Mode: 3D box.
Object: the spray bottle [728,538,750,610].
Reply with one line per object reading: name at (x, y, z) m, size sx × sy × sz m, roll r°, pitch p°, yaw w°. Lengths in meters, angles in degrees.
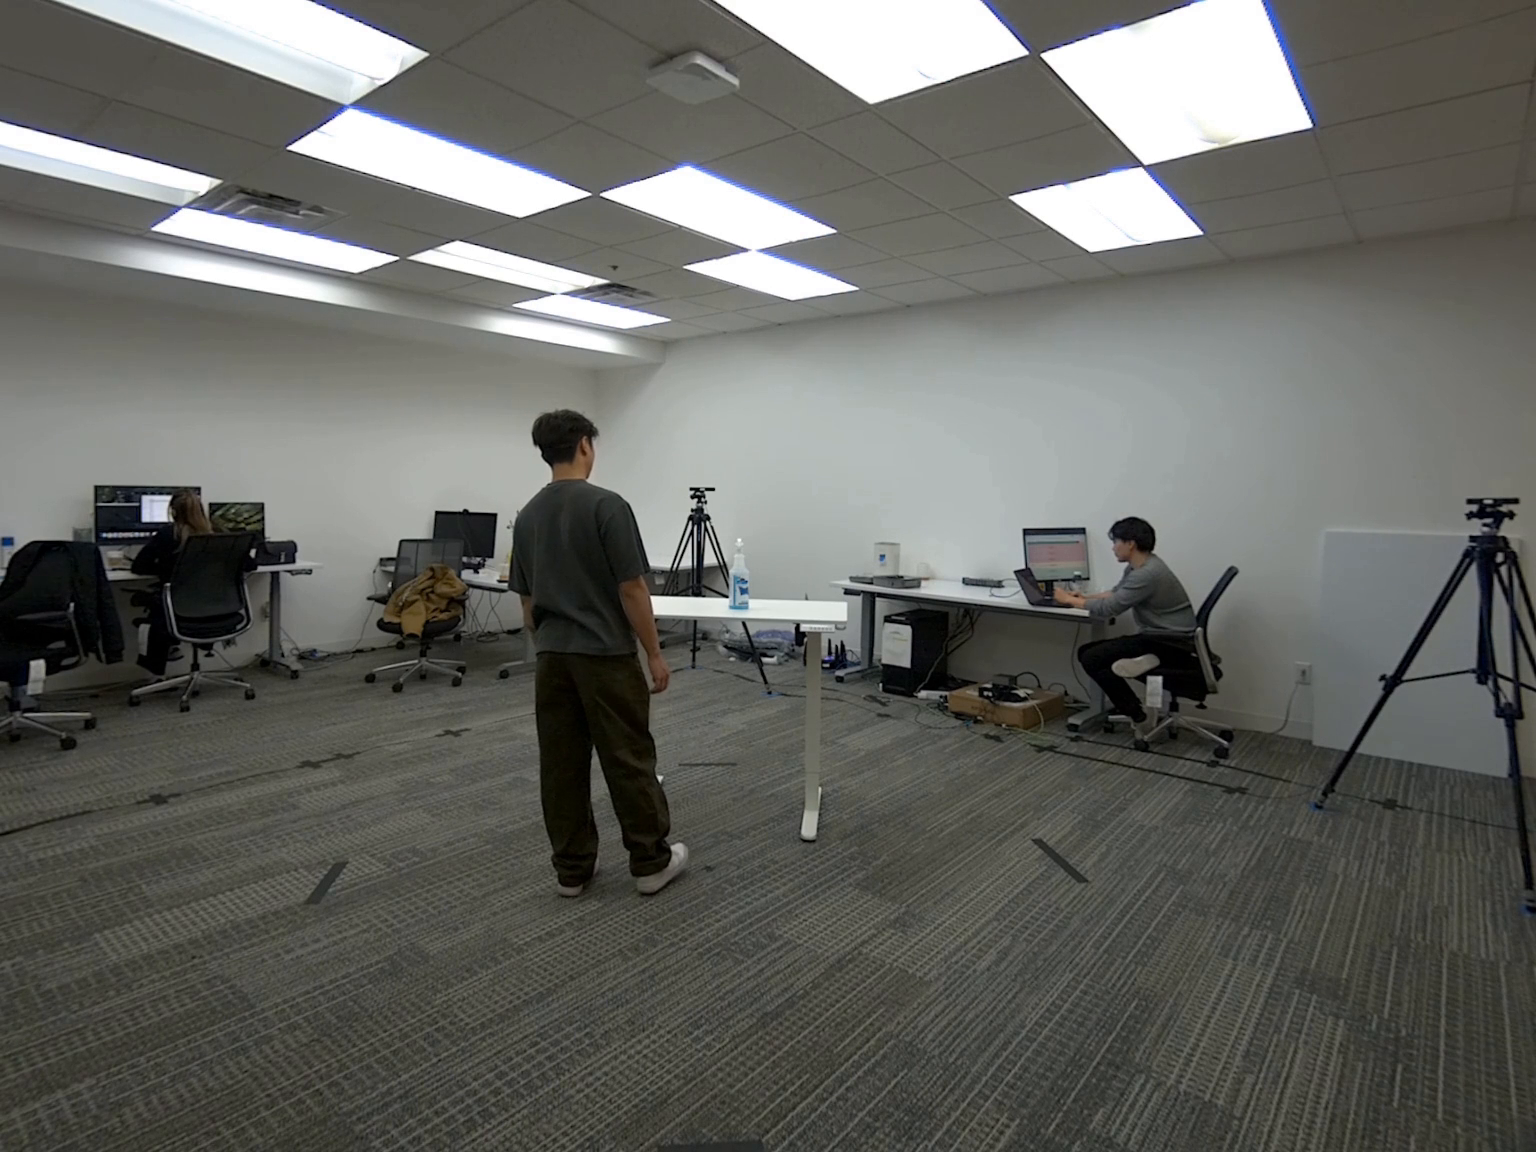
spray bottle at (-0.132, -0.012, 3.630) m, size 0.089 × 0.297 × 0.088 m, roll 2°, pitch 2°, yaw 24°
